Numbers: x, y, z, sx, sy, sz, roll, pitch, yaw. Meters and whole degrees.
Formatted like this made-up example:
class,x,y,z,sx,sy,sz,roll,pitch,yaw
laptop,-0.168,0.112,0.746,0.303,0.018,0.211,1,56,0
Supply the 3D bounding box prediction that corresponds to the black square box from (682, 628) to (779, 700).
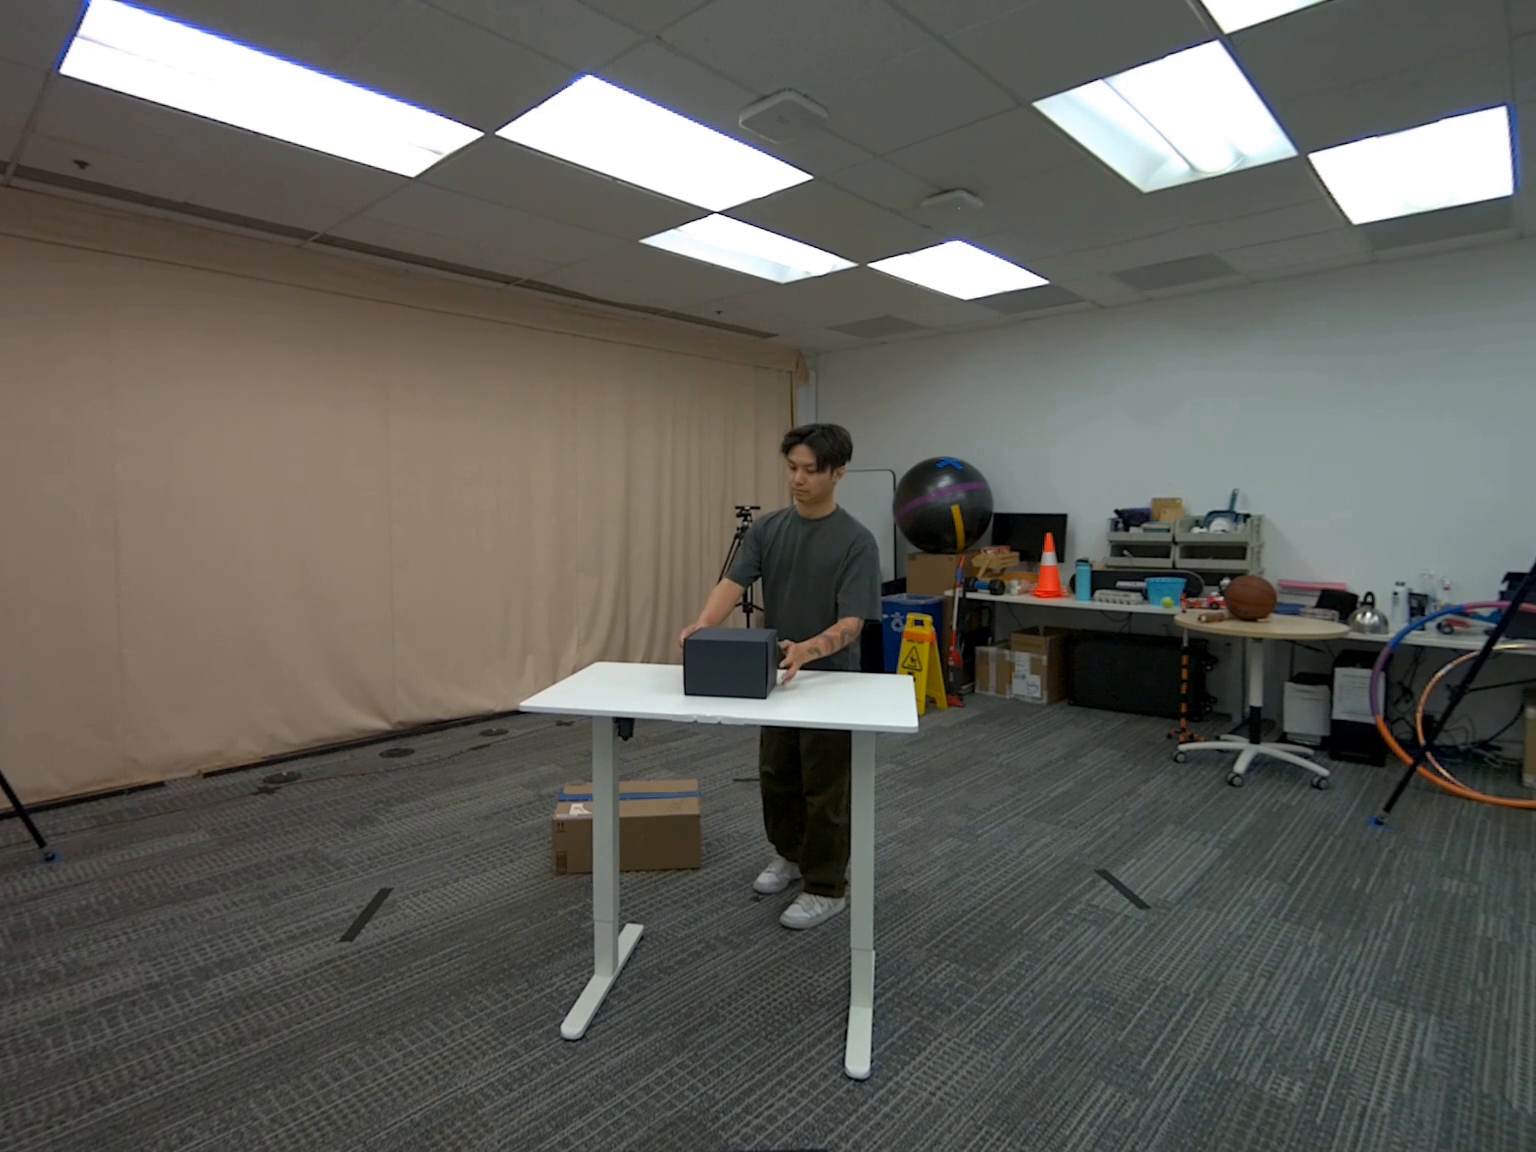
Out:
class,x,y,z,sx,sy,sz,roll,pitch,yaw
black square box,-0.096,0.235,2.342,0.231,0.155,0.215,2,4,10
